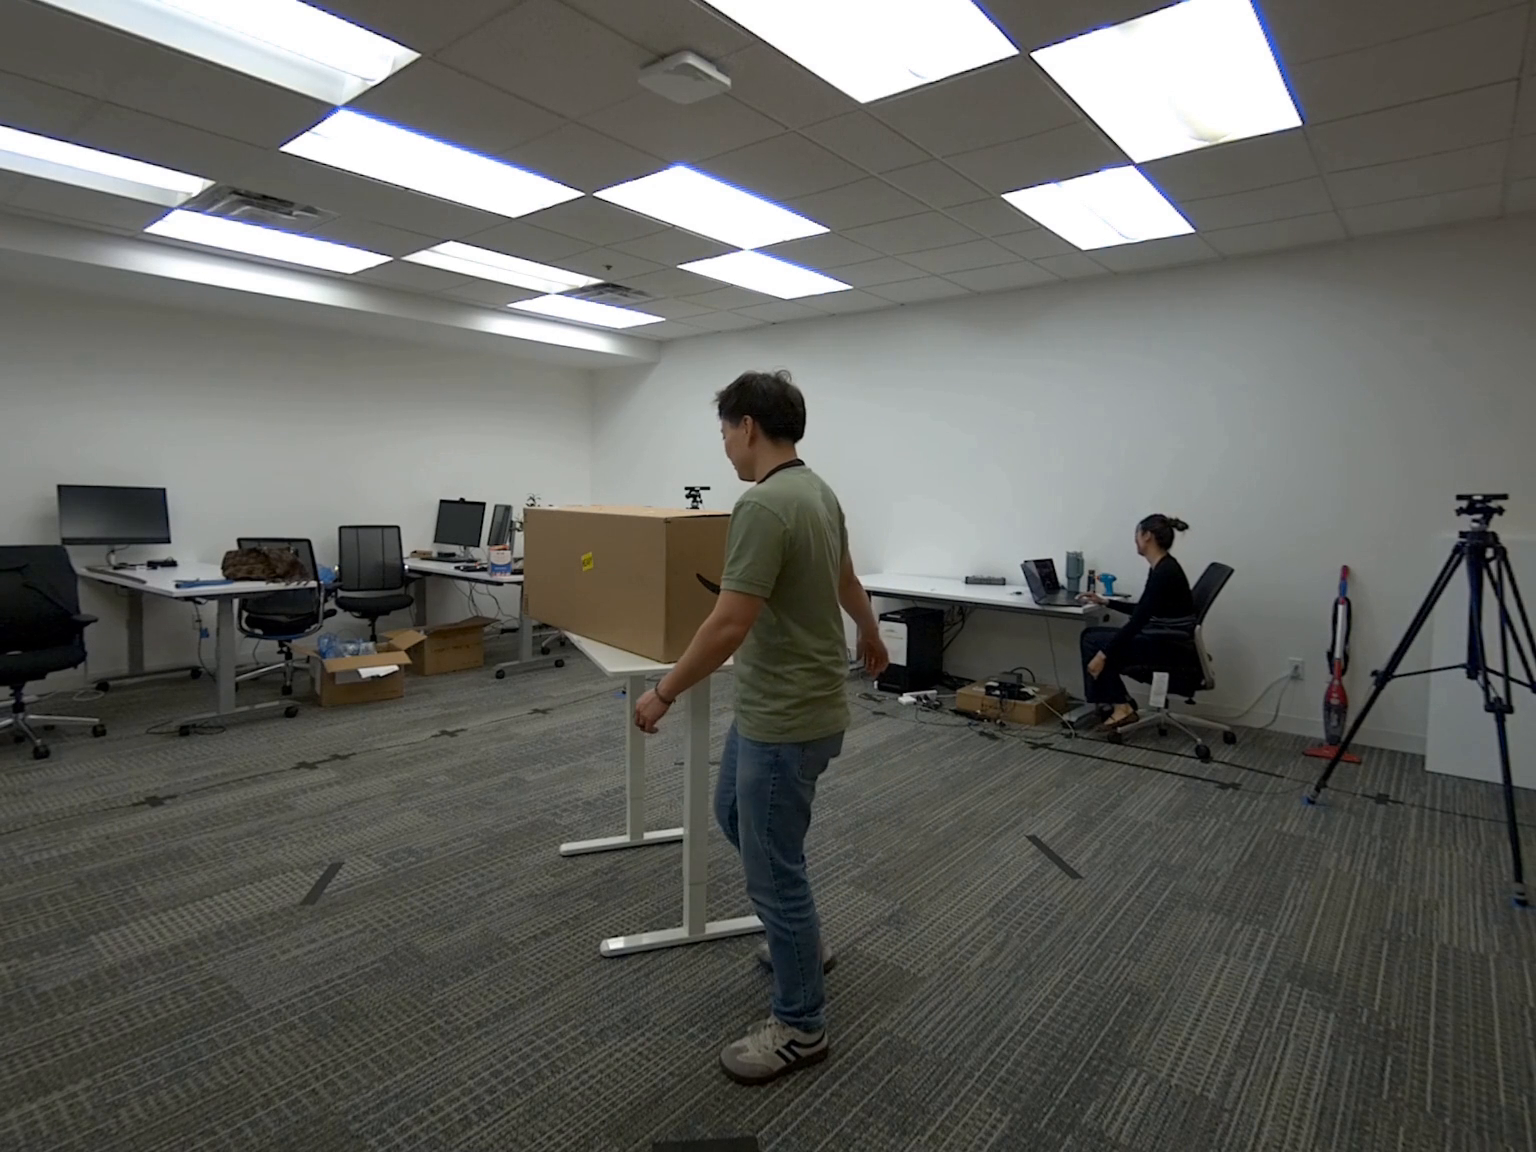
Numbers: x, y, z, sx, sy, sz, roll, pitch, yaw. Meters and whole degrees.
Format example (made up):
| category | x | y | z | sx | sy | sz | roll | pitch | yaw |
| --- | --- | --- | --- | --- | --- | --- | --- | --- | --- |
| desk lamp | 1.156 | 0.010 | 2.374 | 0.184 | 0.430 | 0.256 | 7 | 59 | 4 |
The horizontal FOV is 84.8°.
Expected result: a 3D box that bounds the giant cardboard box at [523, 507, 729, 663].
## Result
| category | x | y | z | sx | sy | sz | roll | pitch | yaw |
| --- | --- | --- | --- | --- | --- | --- | --- | --- | --- |
| giant cardboard box | -0.405 | -0.024 | 3.007 | 0.561 | 0.424 | 1.061 | -3 | 7 | -37 |
